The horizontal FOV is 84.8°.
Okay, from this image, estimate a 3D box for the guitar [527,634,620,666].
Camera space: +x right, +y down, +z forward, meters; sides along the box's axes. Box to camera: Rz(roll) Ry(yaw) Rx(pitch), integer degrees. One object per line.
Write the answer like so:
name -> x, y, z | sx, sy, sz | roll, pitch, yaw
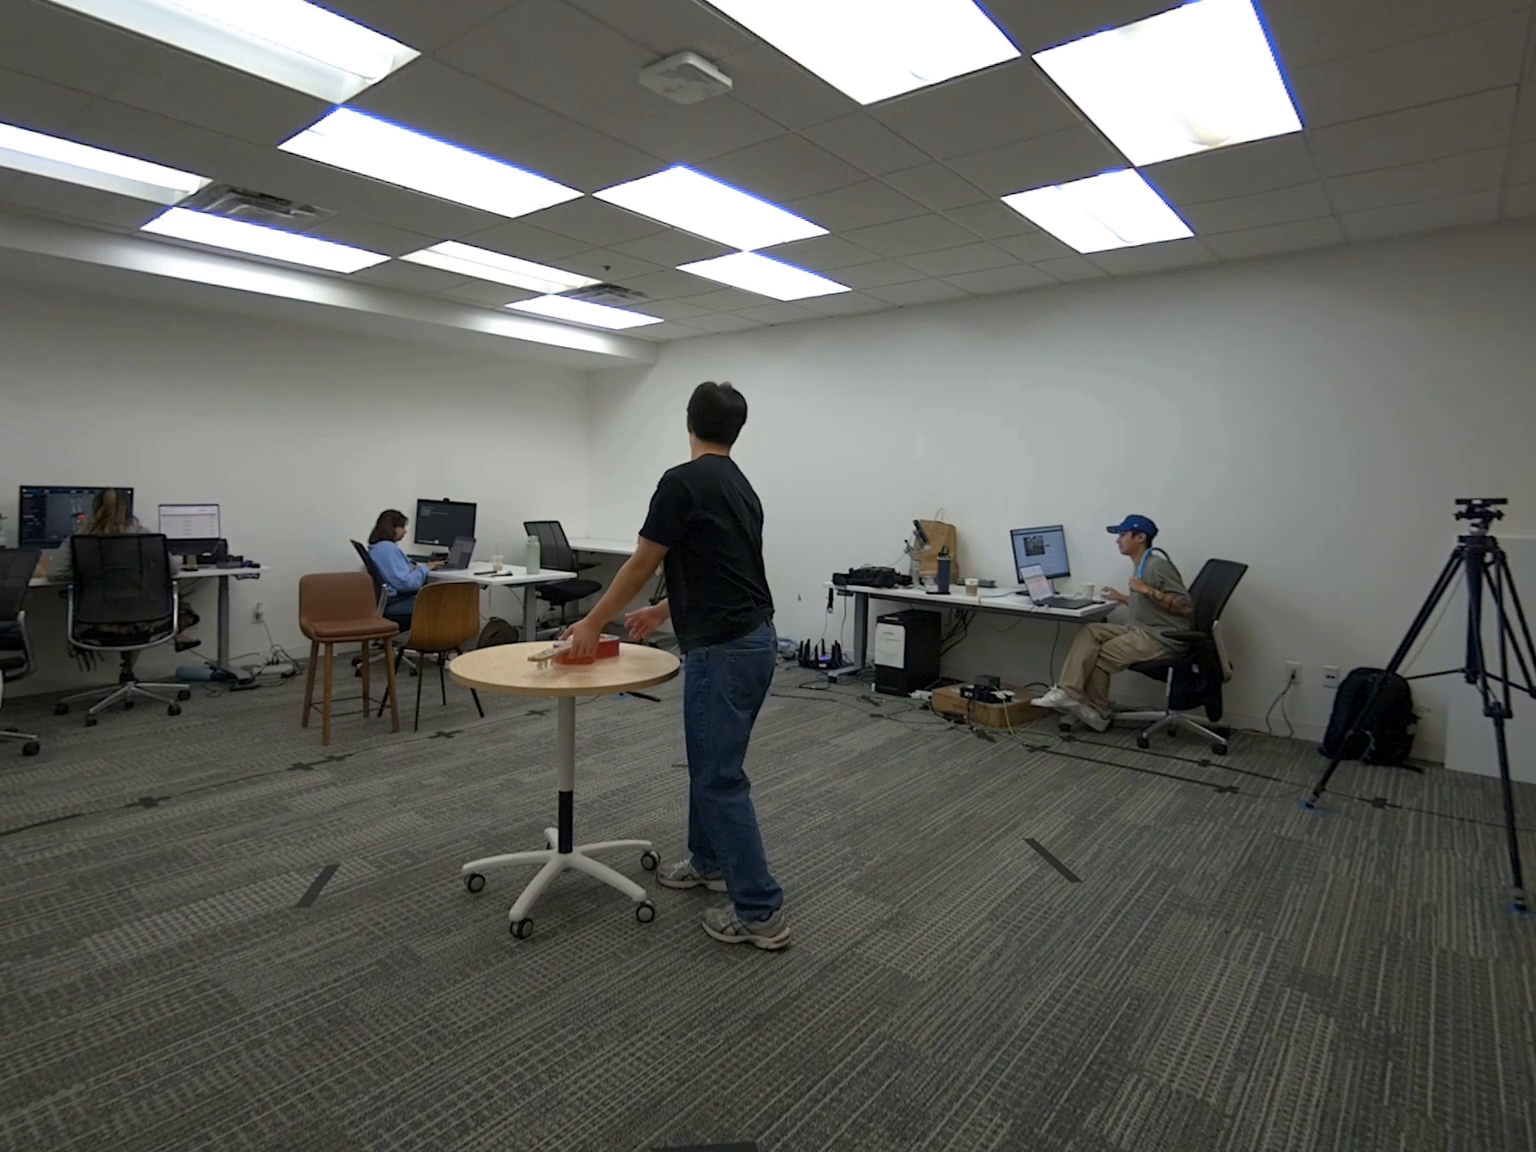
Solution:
guitar -> -0.704, 0.257, 2.864 | 0.198, 0.070, 0.488 | 5, 6, 22
